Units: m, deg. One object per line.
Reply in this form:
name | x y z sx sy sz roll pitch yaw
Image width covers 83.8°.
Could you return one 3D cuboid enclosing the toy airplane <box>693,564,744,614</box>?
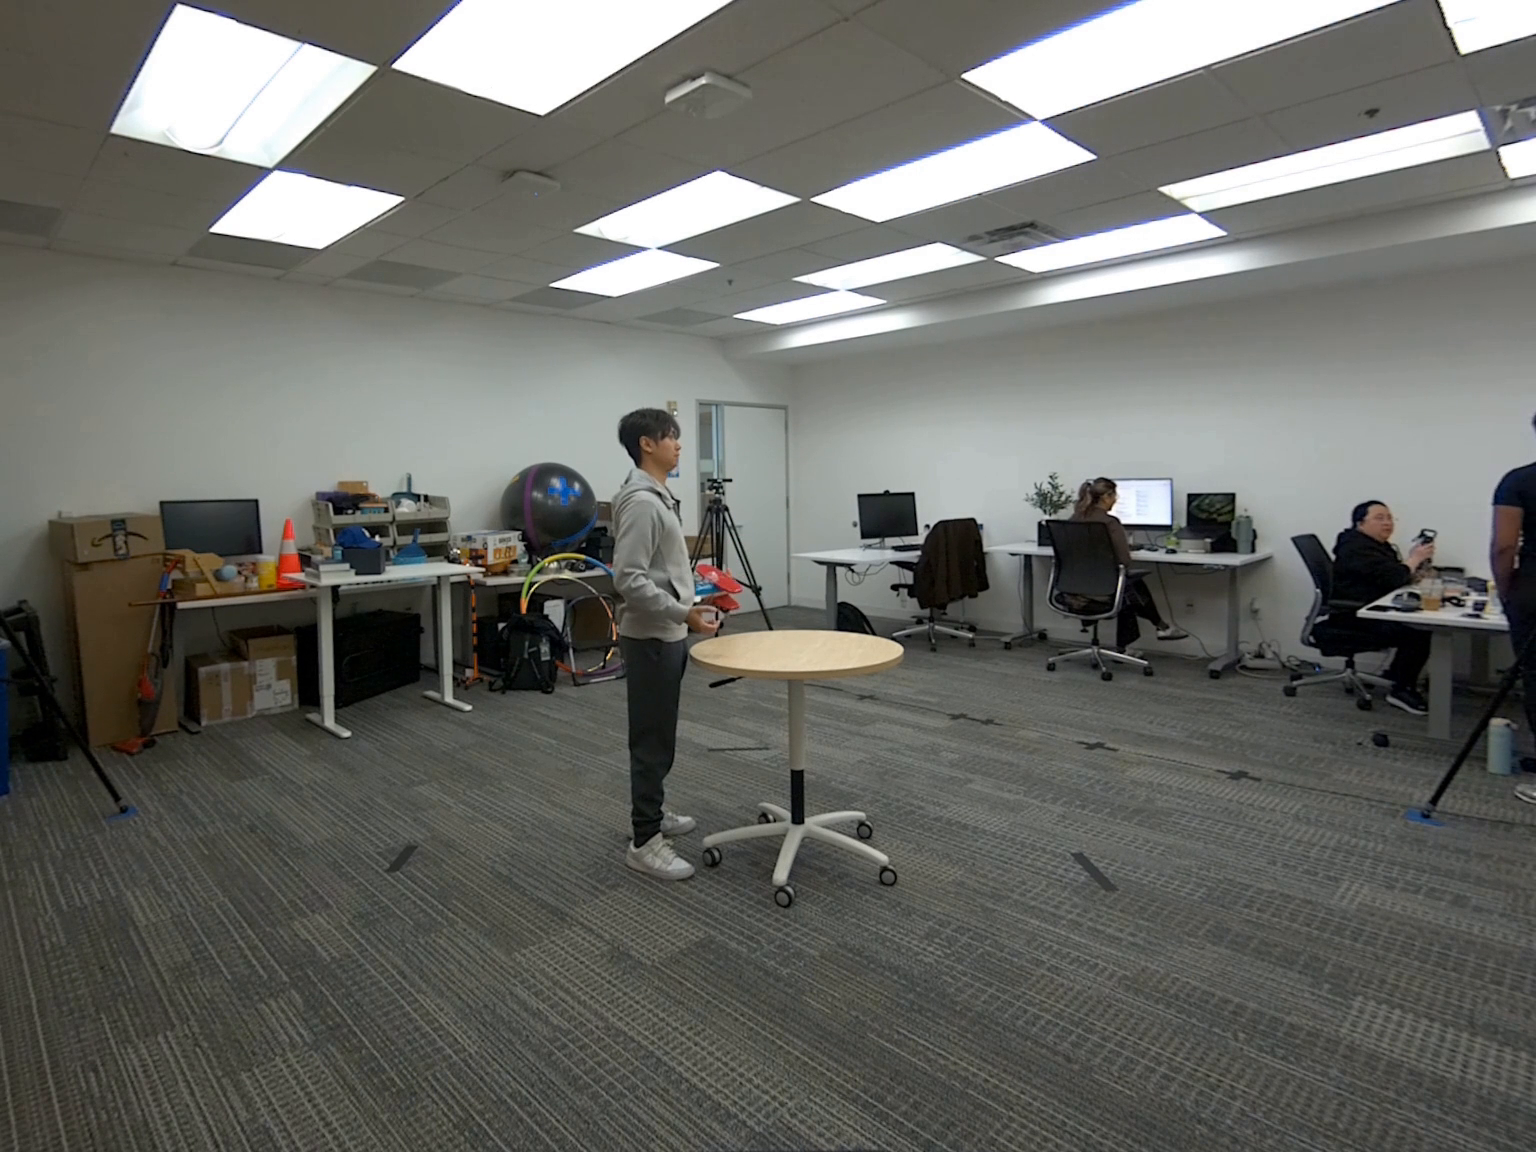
toy airplane | -0.210 0.057 3.516 0.255 0.155 0.257 22 13 10
